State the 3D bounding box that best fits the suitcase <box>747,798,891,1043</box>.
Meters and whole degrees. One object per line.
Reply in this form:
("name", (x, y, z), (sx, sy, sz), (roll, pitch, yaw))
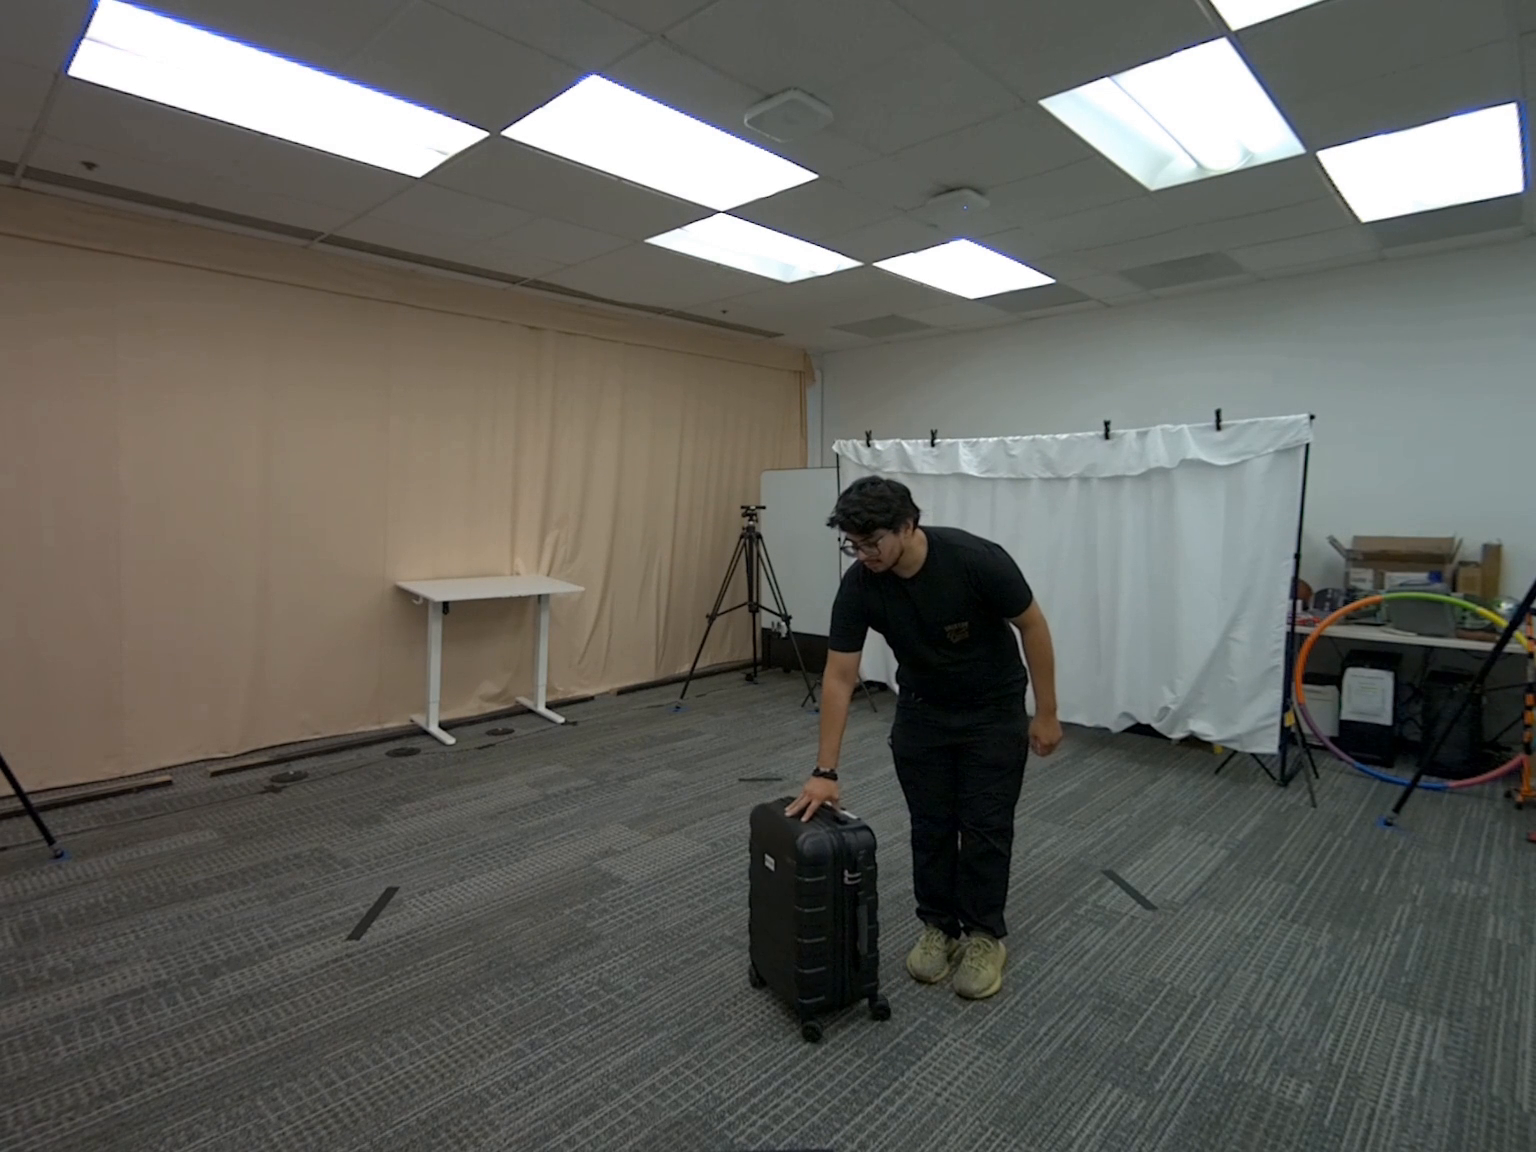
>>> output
("suitcase", (0.131, 0.922, 2.361), (0.242, 0.548, 0.385), (-2, 3, -26))
